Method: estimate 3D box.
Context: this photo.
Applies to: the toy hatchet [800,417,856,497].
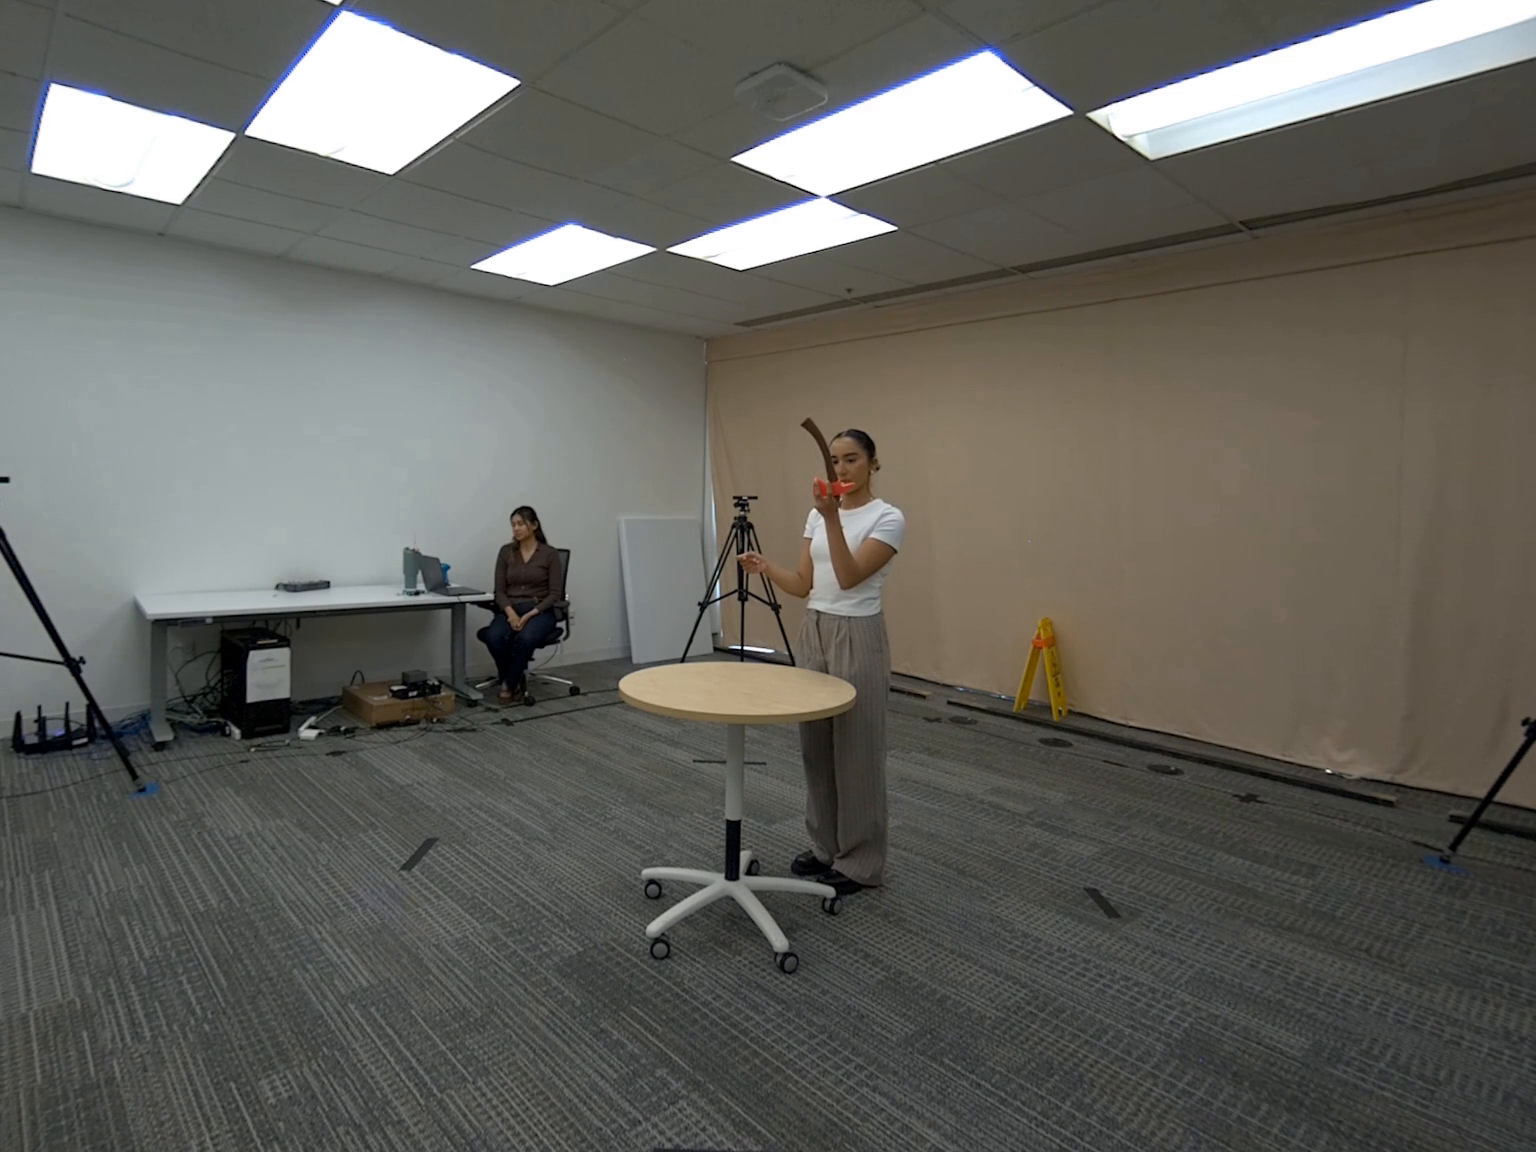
[{"bbox_3d":[0.151,-0.365,2.679,0.131,0.267,0.030,-31,9,11],"label":"toy hatchet"}]
